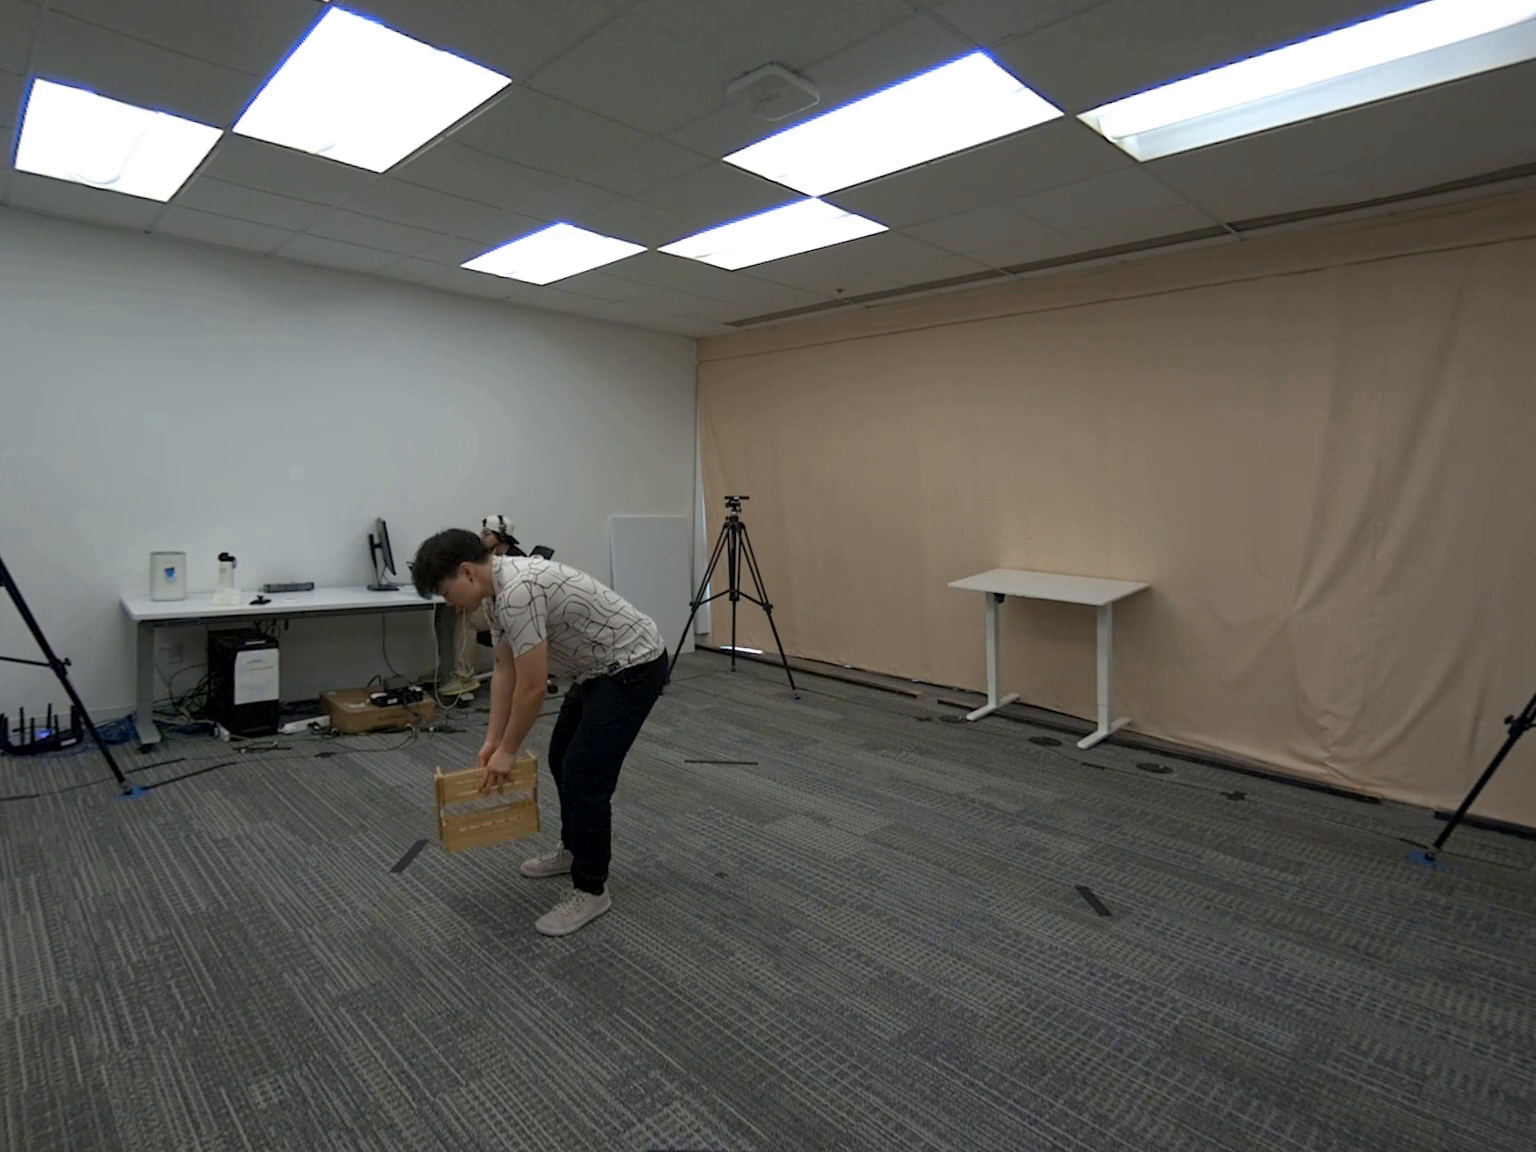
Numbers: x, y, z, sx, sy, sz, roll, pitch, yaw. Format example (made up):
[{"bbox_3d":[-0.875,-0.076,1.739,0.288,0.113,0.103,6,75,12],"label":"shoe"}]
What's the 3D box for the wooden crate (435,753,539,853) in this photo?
[{"bbox_3d":[-0.954,0.734,2.830,0.319,0.273,0.307,-6,4,-25],"label":"wooden crate"}]
